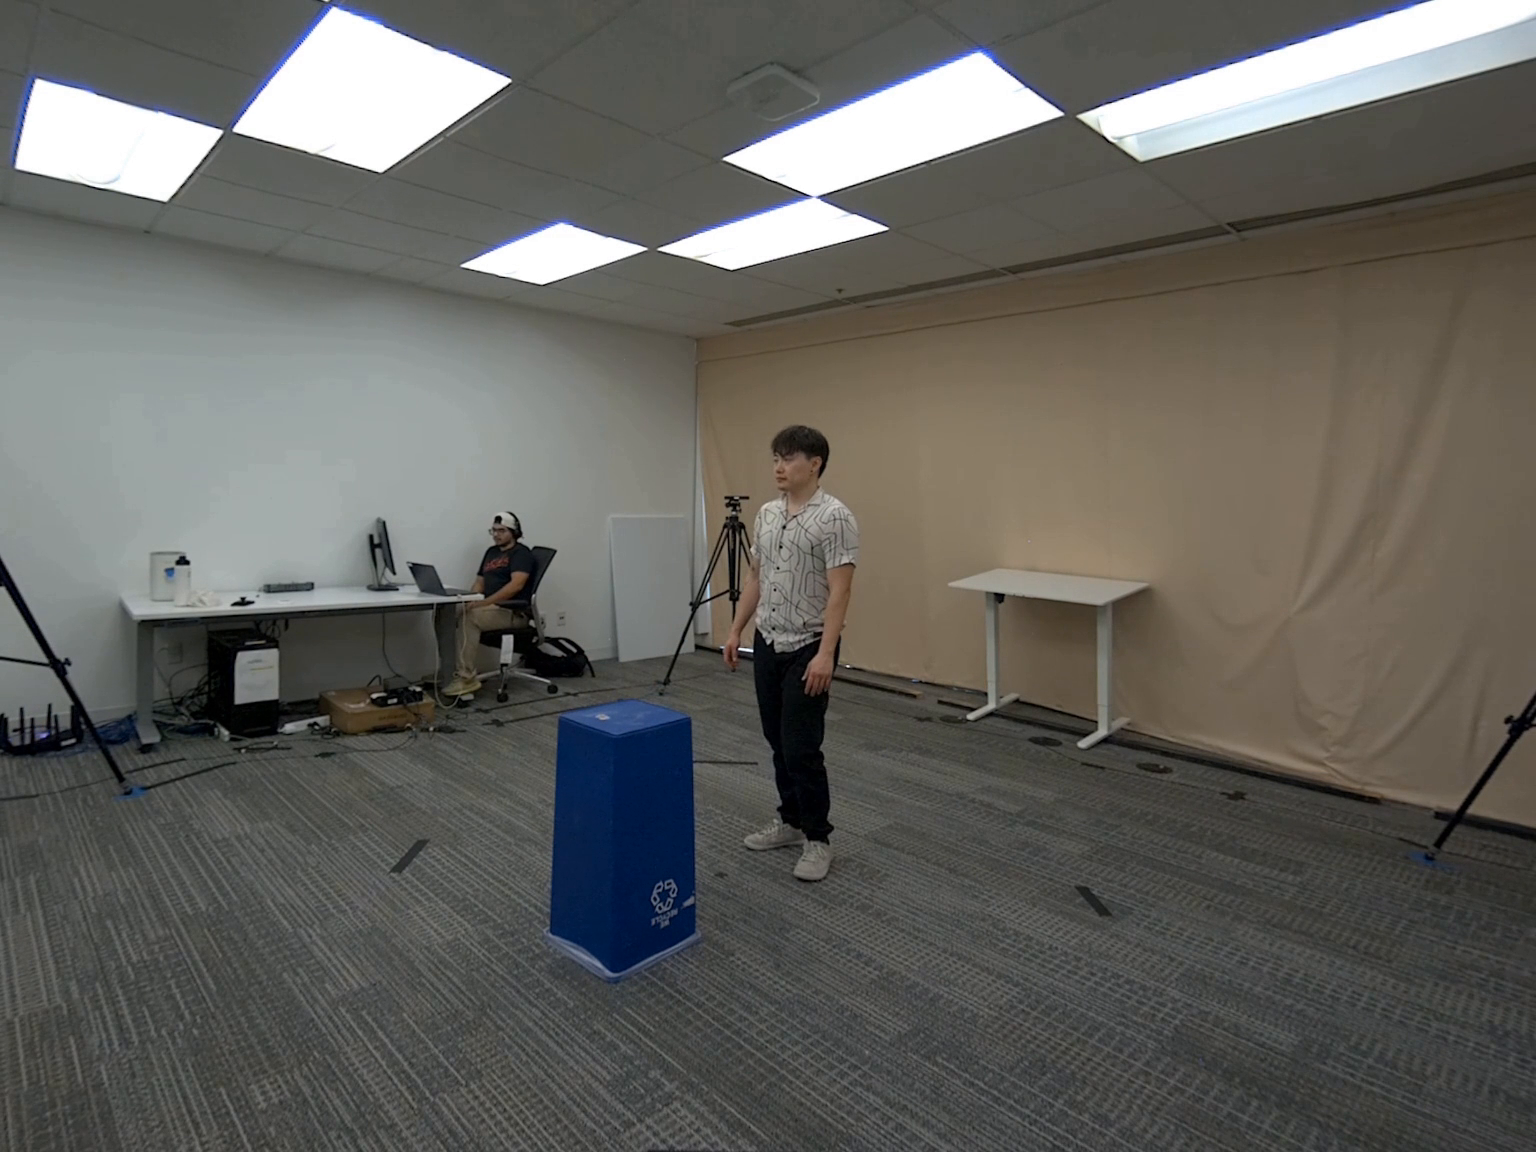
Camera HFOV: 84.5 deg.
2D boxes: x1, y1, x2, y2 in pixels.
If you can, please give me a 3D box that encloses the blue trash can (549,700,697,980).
[{"bbox_3d":[-0.463,0.788,2.619,0.387,0.712,0.365,3,4,44],"label":"blue trash can"}]
